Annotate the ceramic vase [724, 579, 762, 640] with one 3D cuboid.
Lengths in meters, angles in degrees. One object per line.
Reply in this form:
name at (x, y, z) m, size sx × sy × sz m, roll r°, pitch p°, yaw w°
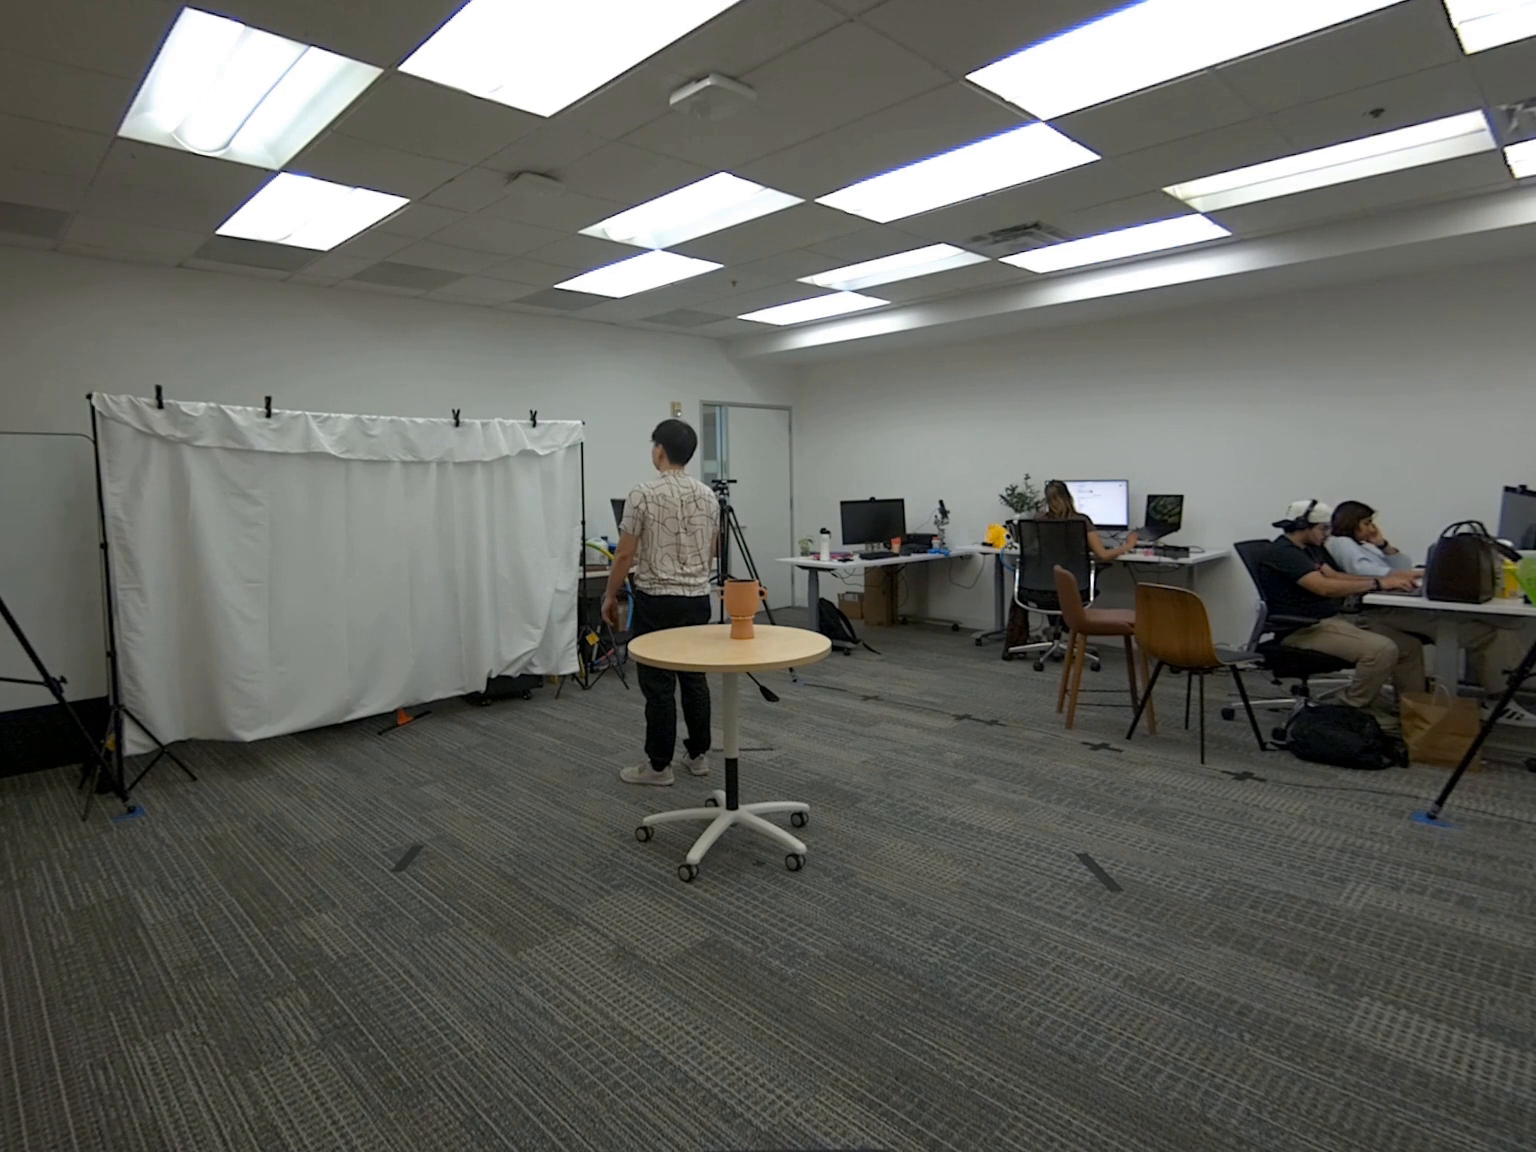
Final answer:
ceramic vase at (-0.098, 0.129, 3.327) m, size 0.131 × 0.219 × 0.163 m, roll -4°, pitch 5°, yaw -44°
